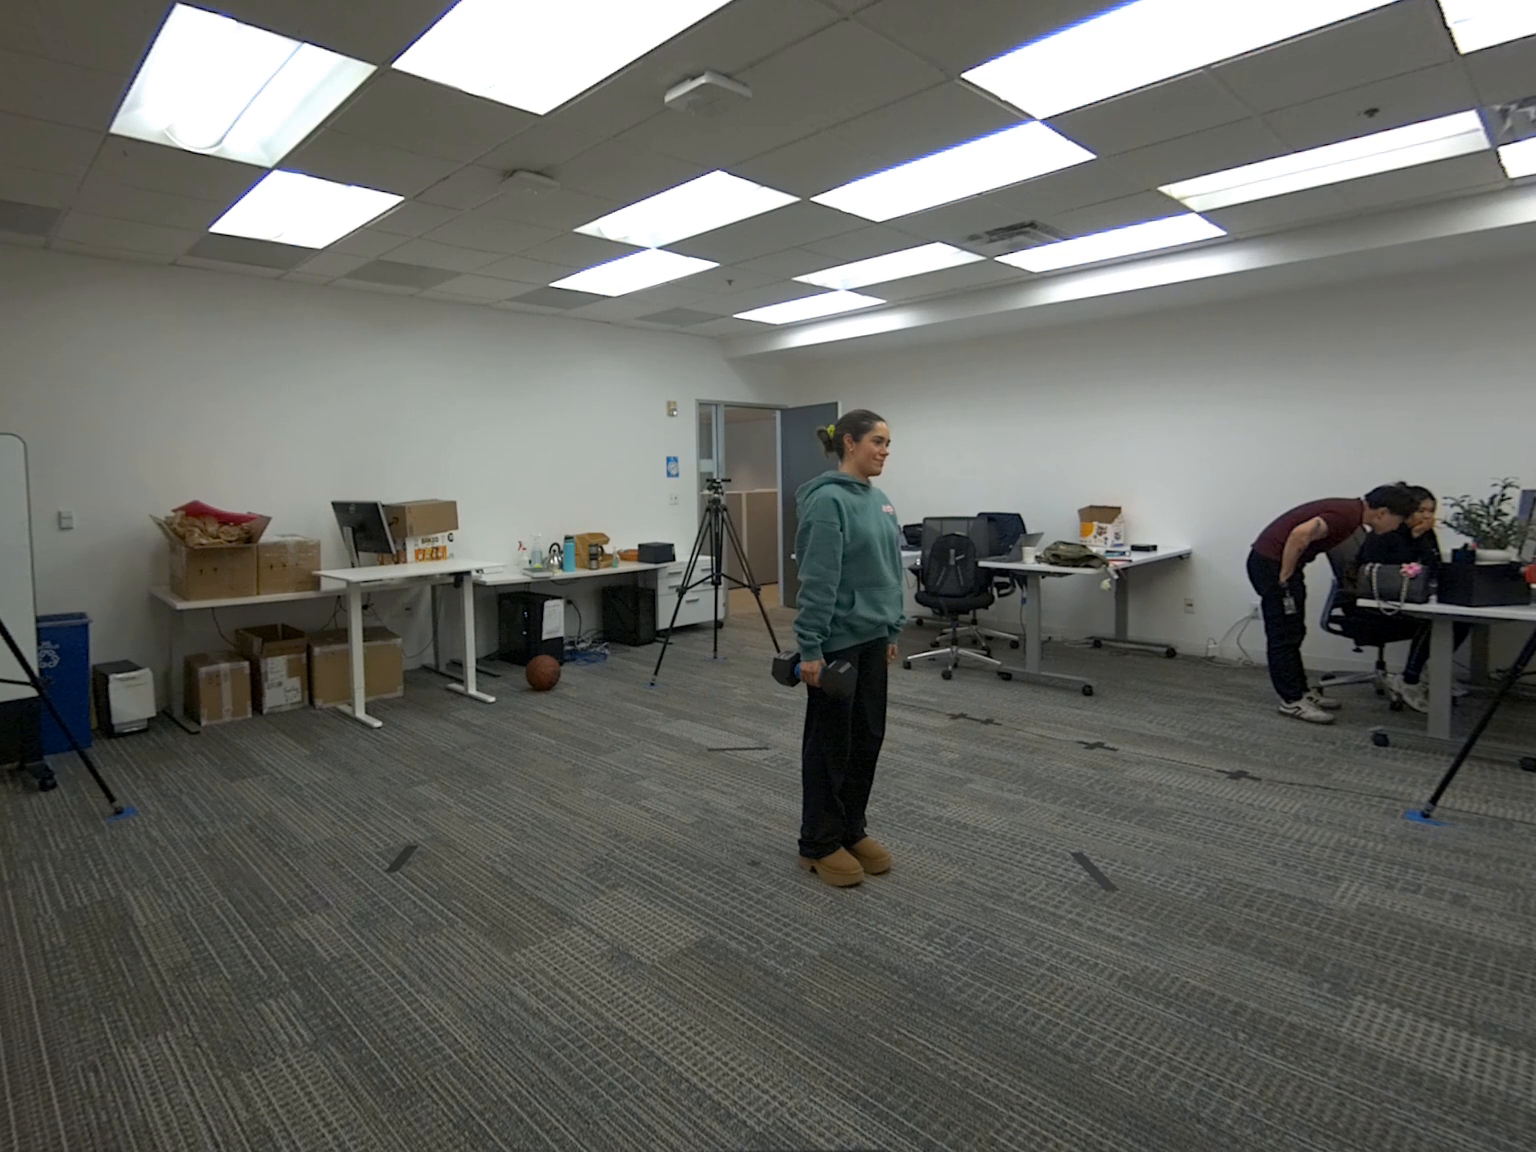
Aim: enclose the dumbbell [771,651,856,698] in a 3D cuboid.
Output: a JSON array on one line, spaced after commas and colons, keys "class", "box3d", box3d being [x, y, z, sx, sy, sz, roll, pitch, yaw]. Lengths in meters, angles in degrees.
[{"class": "dumbbell", "box3d": [0.156, 0.326, 2.875, 0.303, 0.109, 0.118, 5, -34, 42]}]
